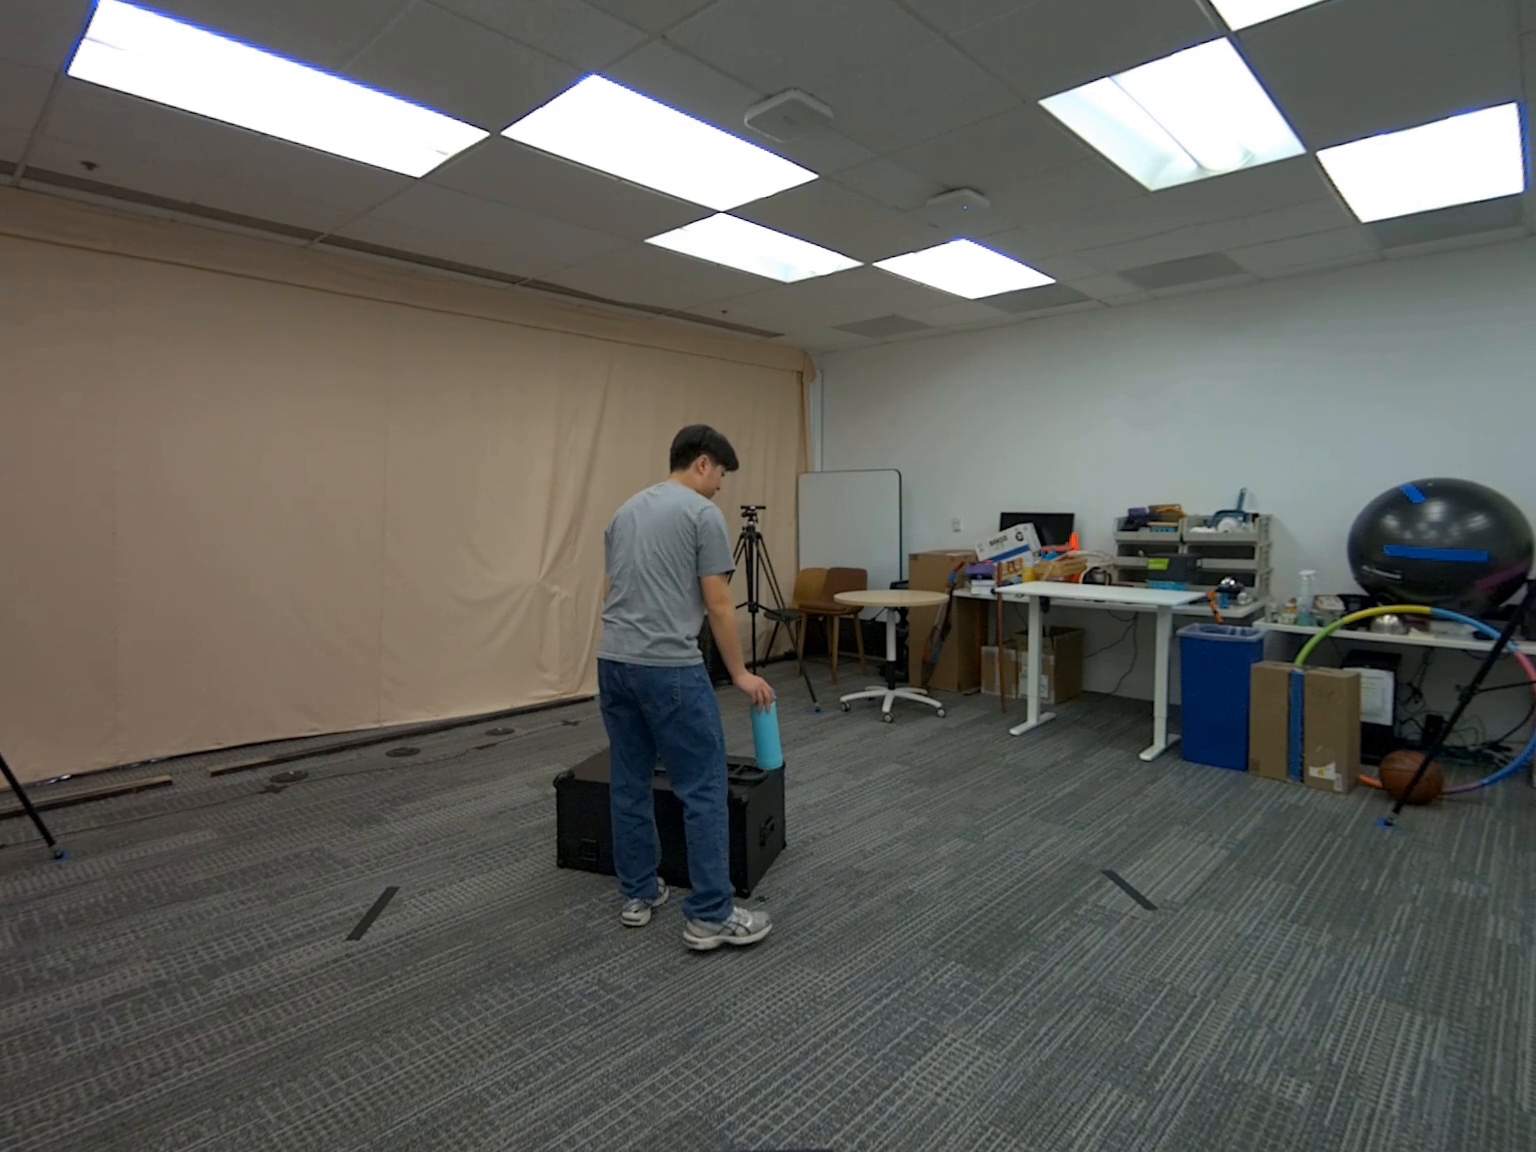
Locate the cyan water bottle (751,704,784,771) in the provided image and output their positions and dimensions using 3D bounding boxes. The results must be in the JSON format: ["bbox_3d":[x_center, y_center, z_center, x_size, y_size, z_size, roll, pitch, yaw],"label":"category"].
[{"bbox_3d":[-0.005,0.514,2.856,0.092,0.283,0.092,-6,2,-2],"label":"cyan water bottle"}]
